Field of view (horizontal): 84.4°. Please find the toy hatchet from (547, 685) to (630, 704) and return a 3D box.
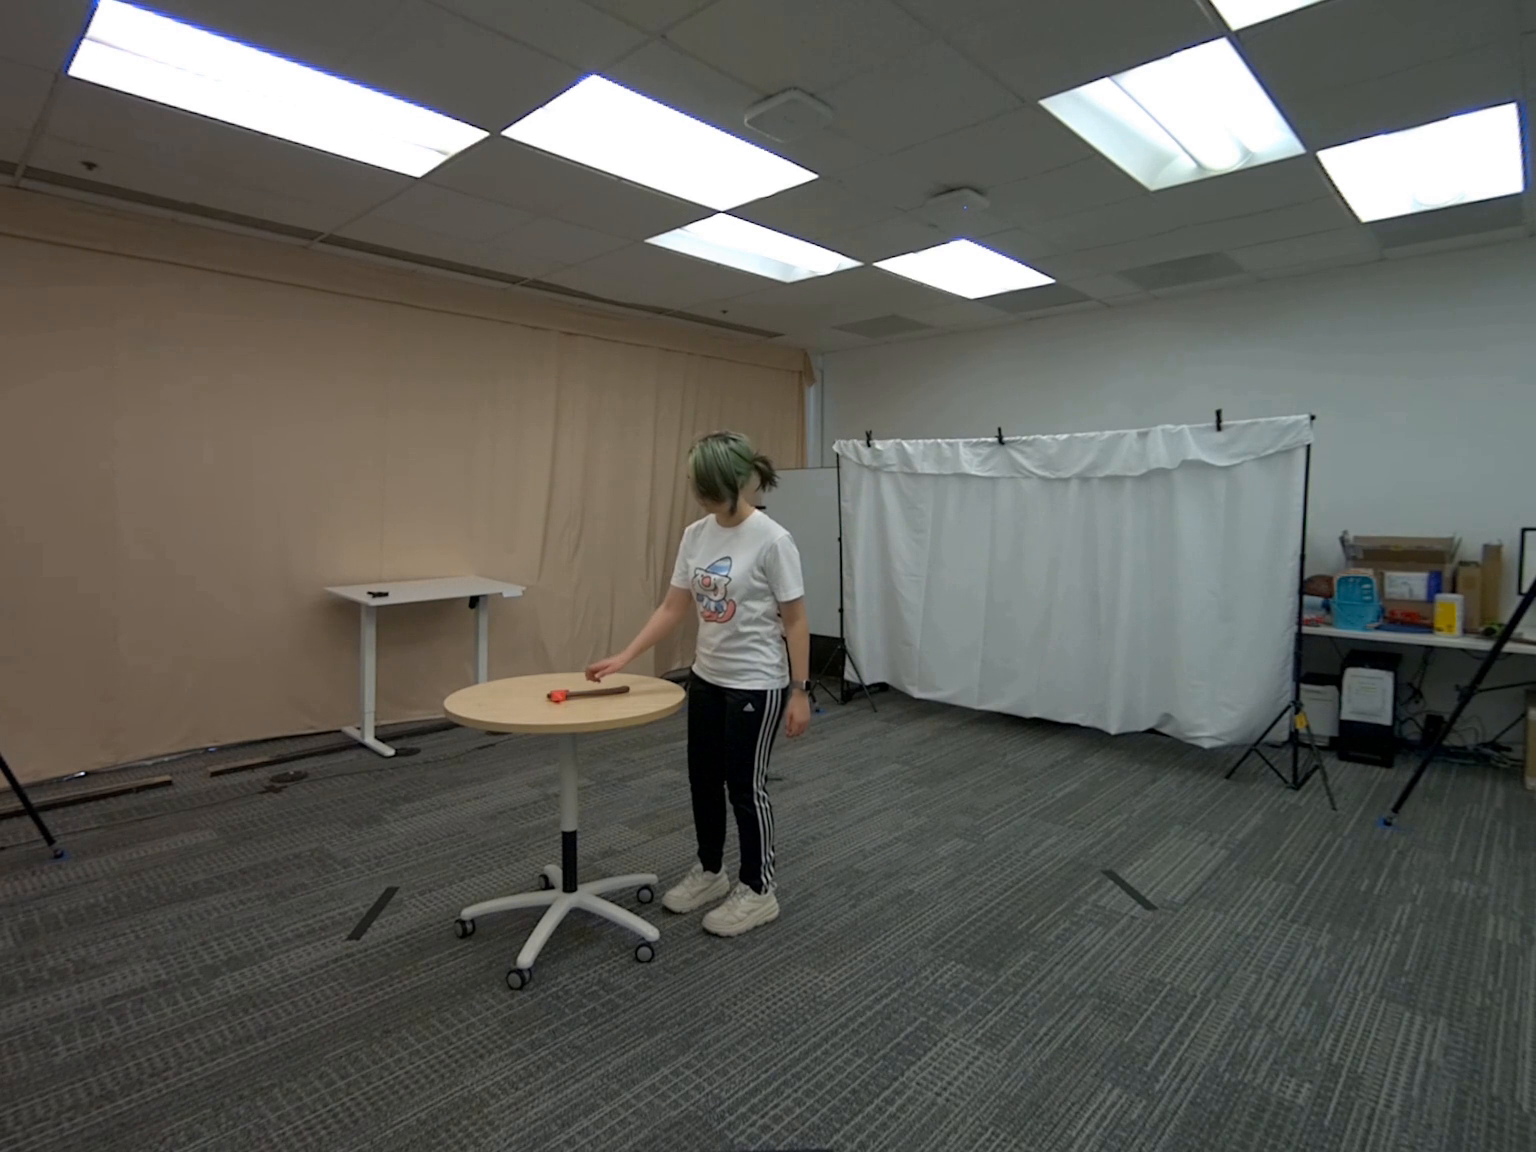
[{"bbox_3d":[-0.589,0.375,2.720,0.262,0.029,0.135,-1,0,-41],"label":"toy hatchet"}]
